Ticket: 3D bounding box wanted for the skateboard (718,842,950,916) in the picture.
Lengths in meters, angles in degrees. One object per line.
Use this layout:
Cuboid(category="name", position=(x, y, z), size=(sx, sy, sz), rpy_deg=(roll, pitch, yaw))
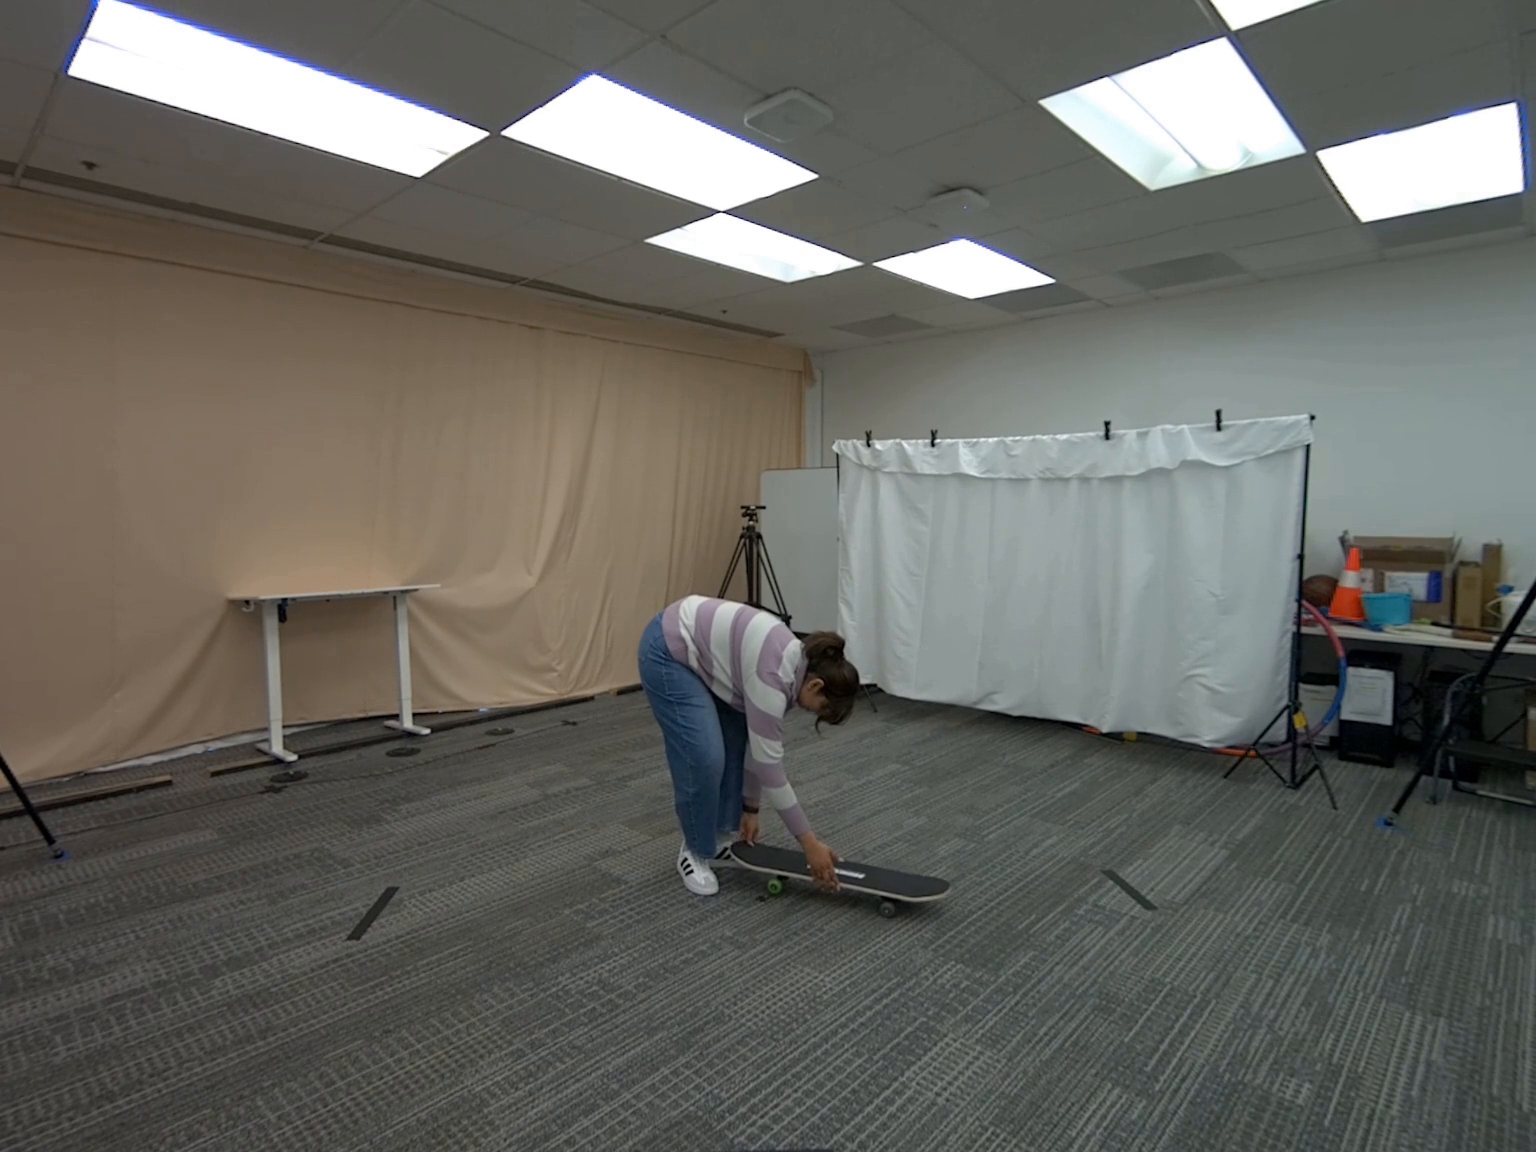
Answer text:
Cuboid(category="skateboard", position=(0.241, 1.077, 2.982), size=(0.802, 0.110, 0.190), rpy_deg=(4, 5, 19))
